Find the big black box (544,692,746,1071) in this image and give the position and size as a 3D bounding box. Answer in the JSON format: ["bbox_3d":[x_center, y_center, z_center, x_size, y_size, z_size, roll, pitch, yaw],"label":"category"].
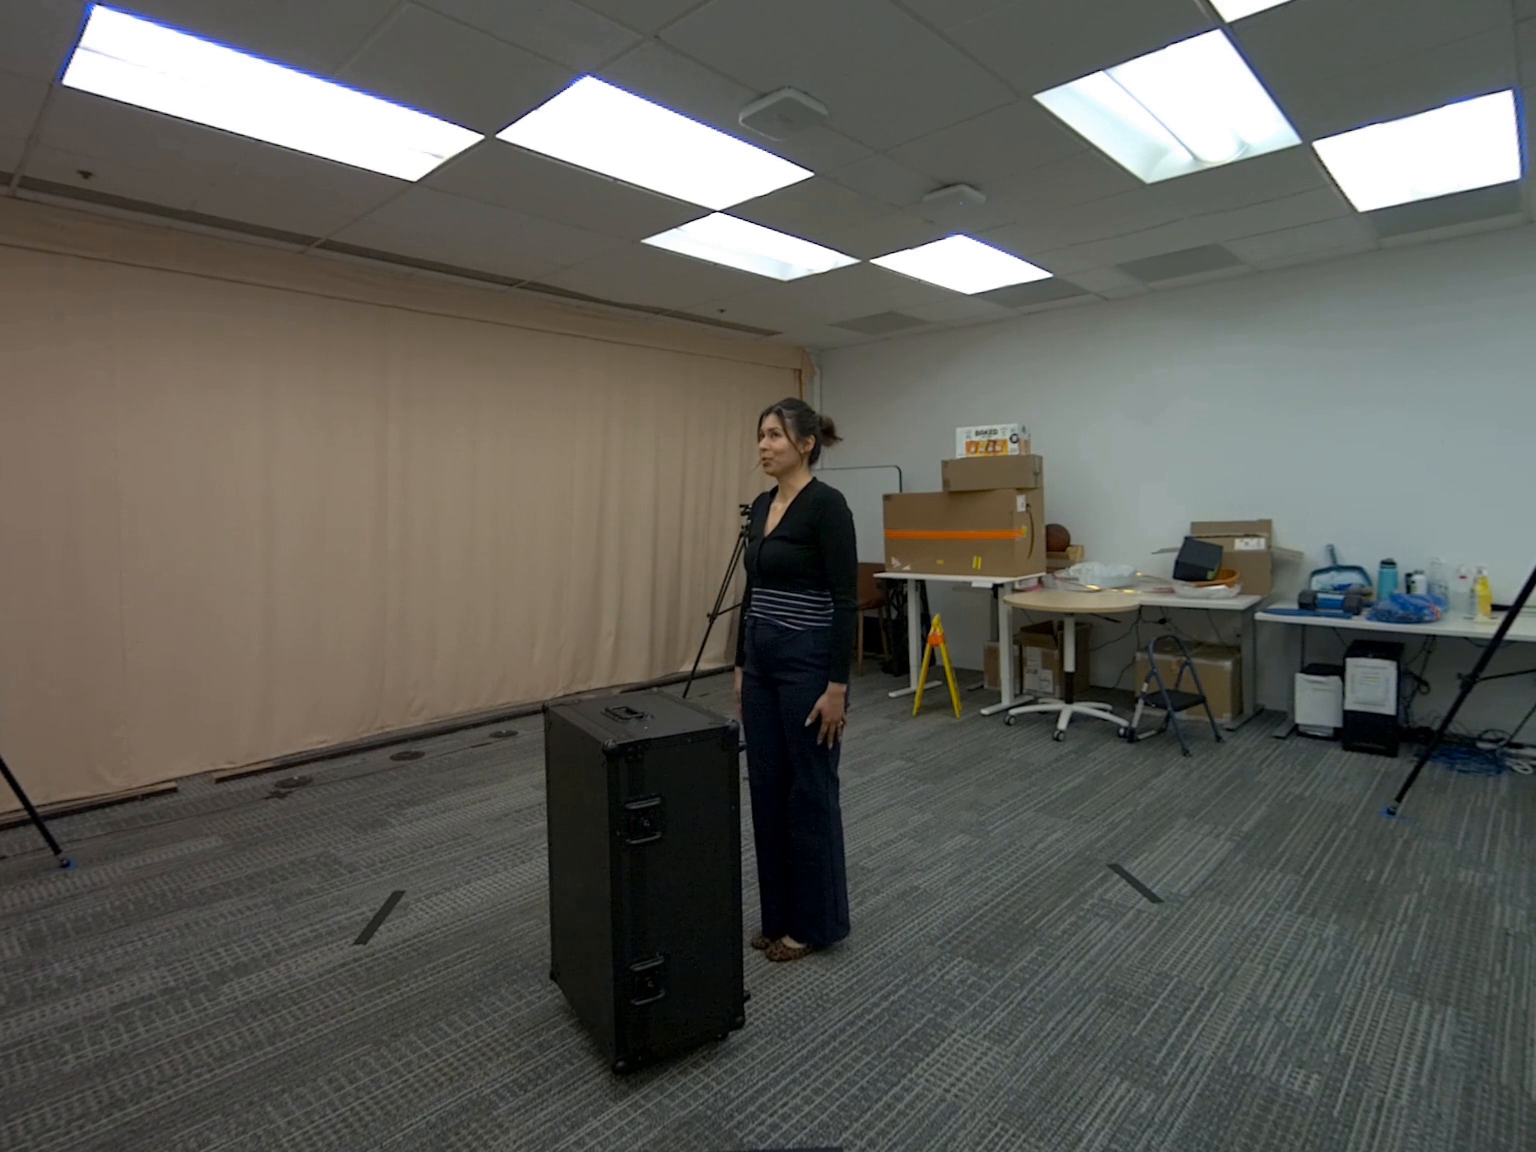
[{"bbox_3d":[-0.334,0.783,2.239,0.385,0.860,0.536,-2,3,-31],"label":"big black box"}]
